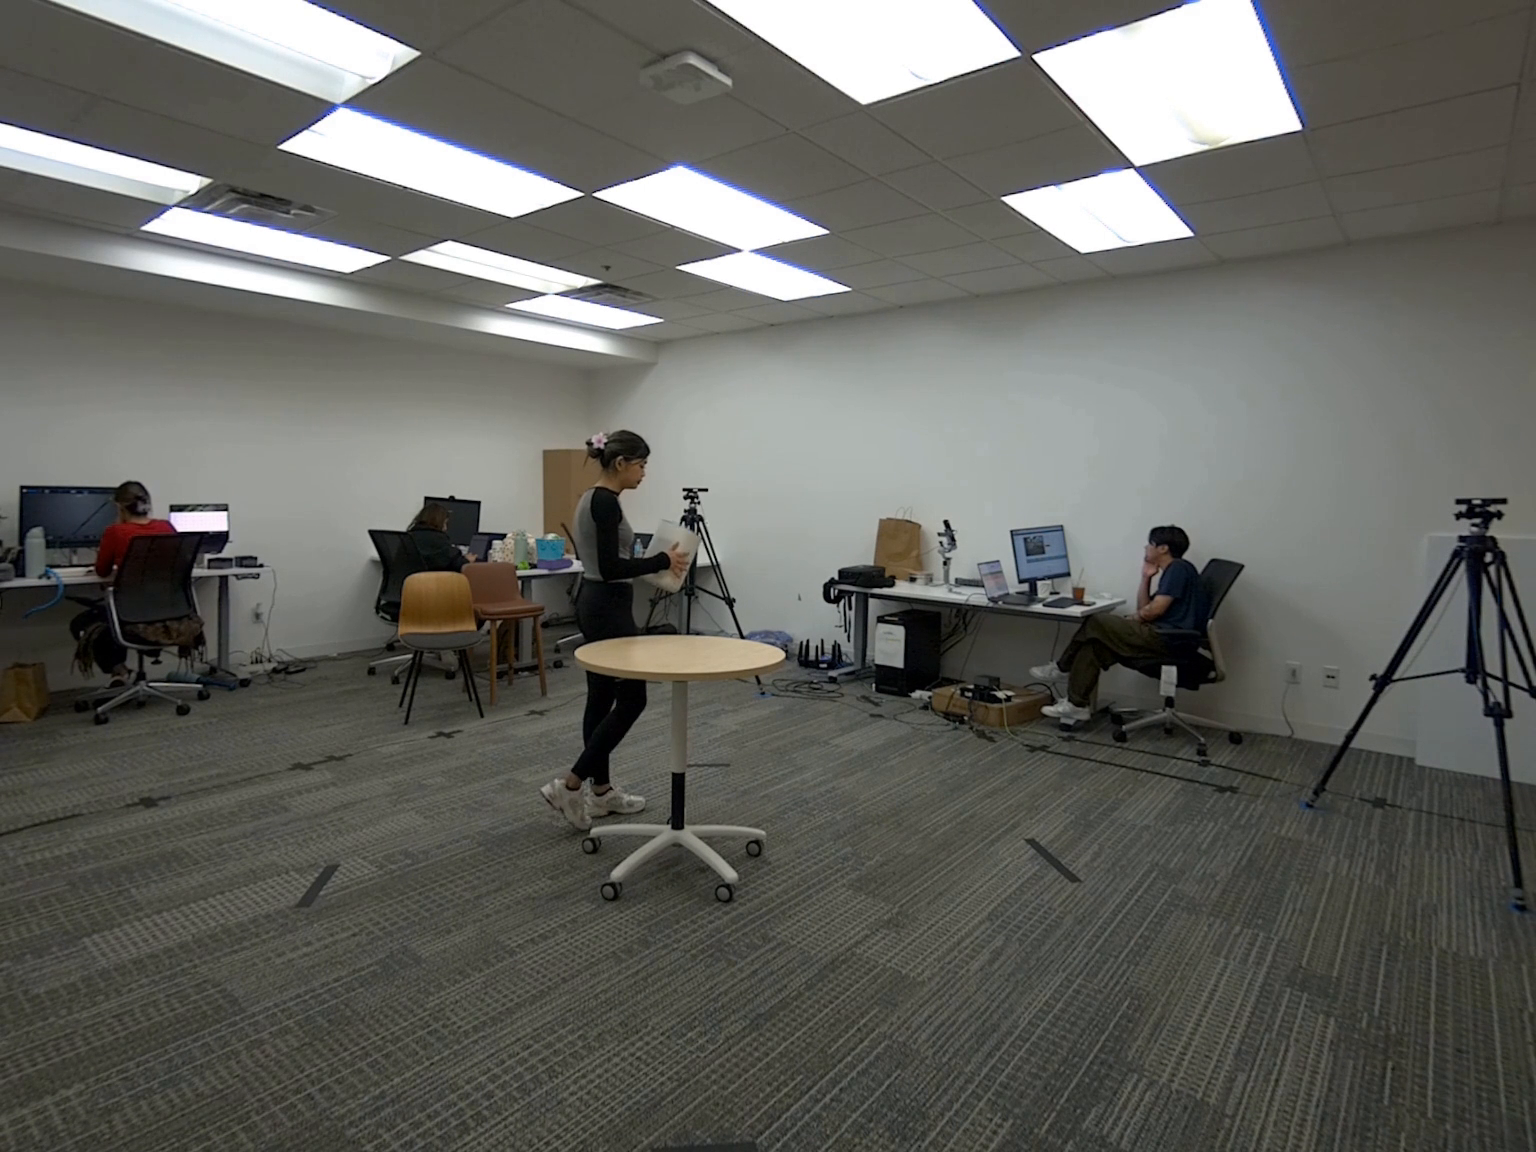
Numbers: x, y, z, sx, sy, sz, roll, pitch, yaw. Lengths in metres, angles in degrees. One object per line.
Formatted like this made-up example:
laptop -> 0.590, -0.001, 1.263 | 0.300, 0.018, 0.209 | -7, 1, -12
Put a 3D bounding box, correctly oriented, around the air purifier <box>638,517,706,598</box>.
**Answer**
air purifier -> -0.431, -0.082, 3.631 | 0.177, 0.266, 0.165 | 18, -11, 28
